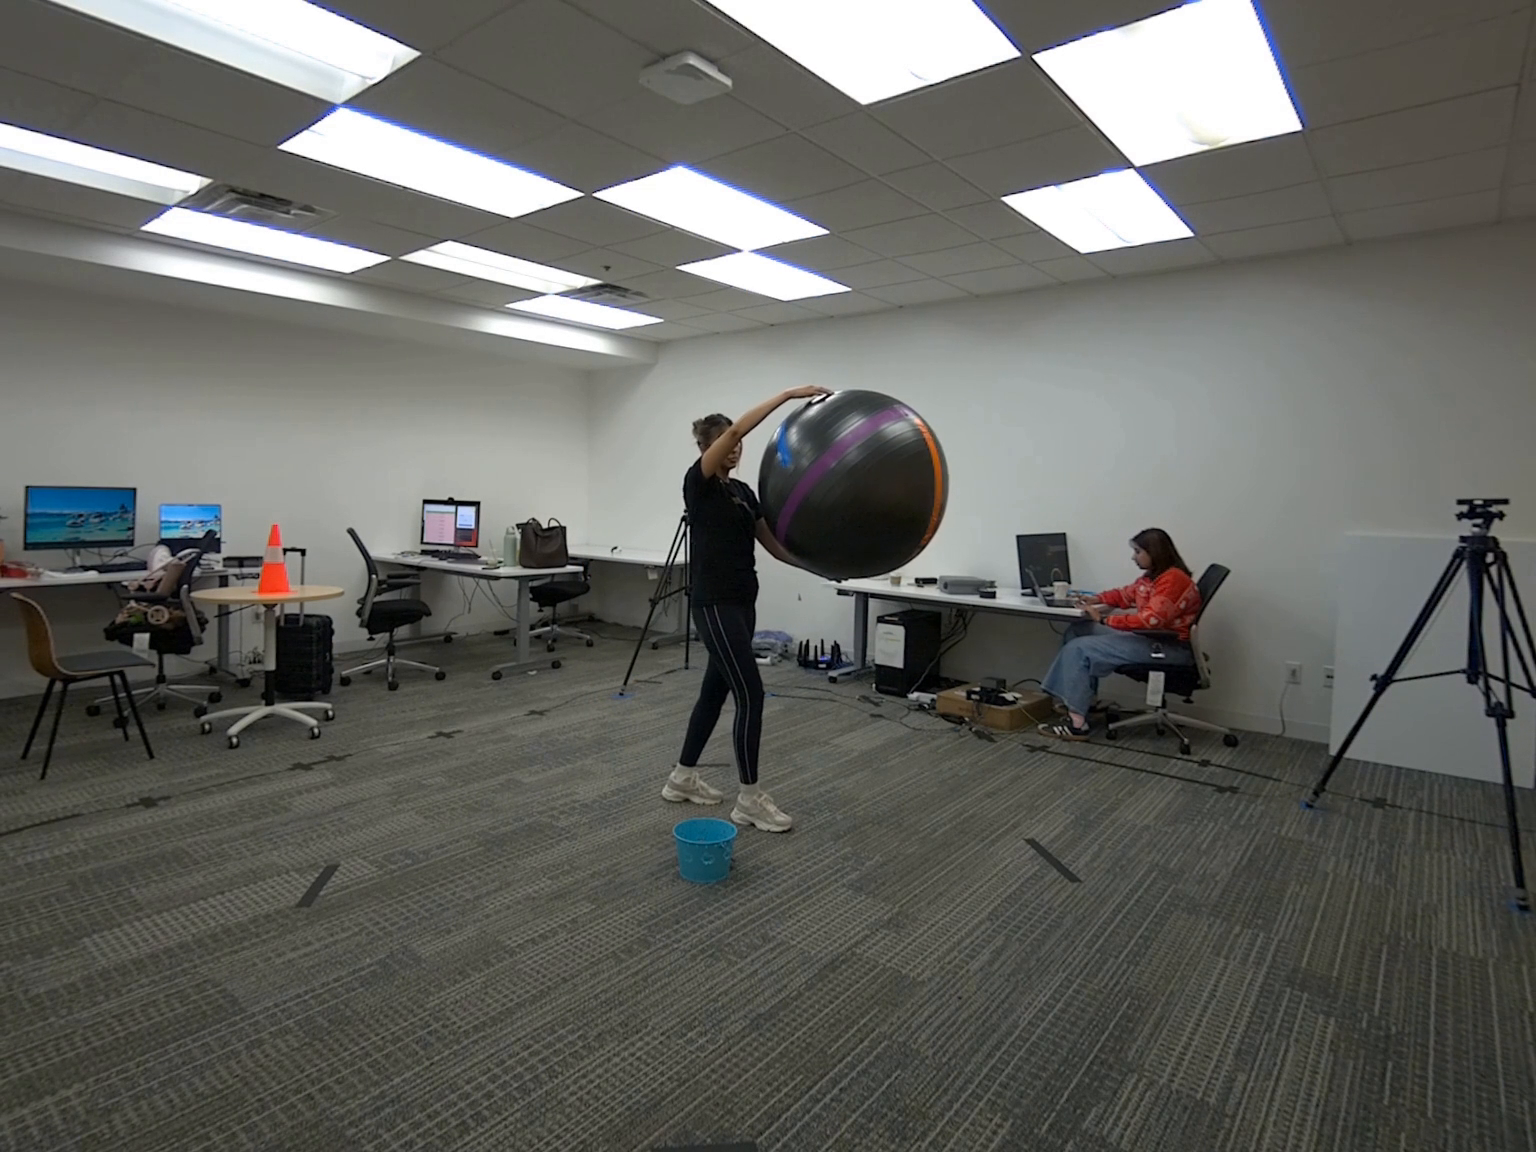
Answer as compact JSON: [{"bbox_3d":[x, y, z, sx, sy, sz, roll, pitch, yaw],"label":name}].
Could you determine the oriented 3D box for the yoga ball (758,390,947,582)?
[{"bbox_3d":[0.334,-0.363,3.420,0.757,0.756,0.761,1,4,-2],"label":"yoga ball"}]
